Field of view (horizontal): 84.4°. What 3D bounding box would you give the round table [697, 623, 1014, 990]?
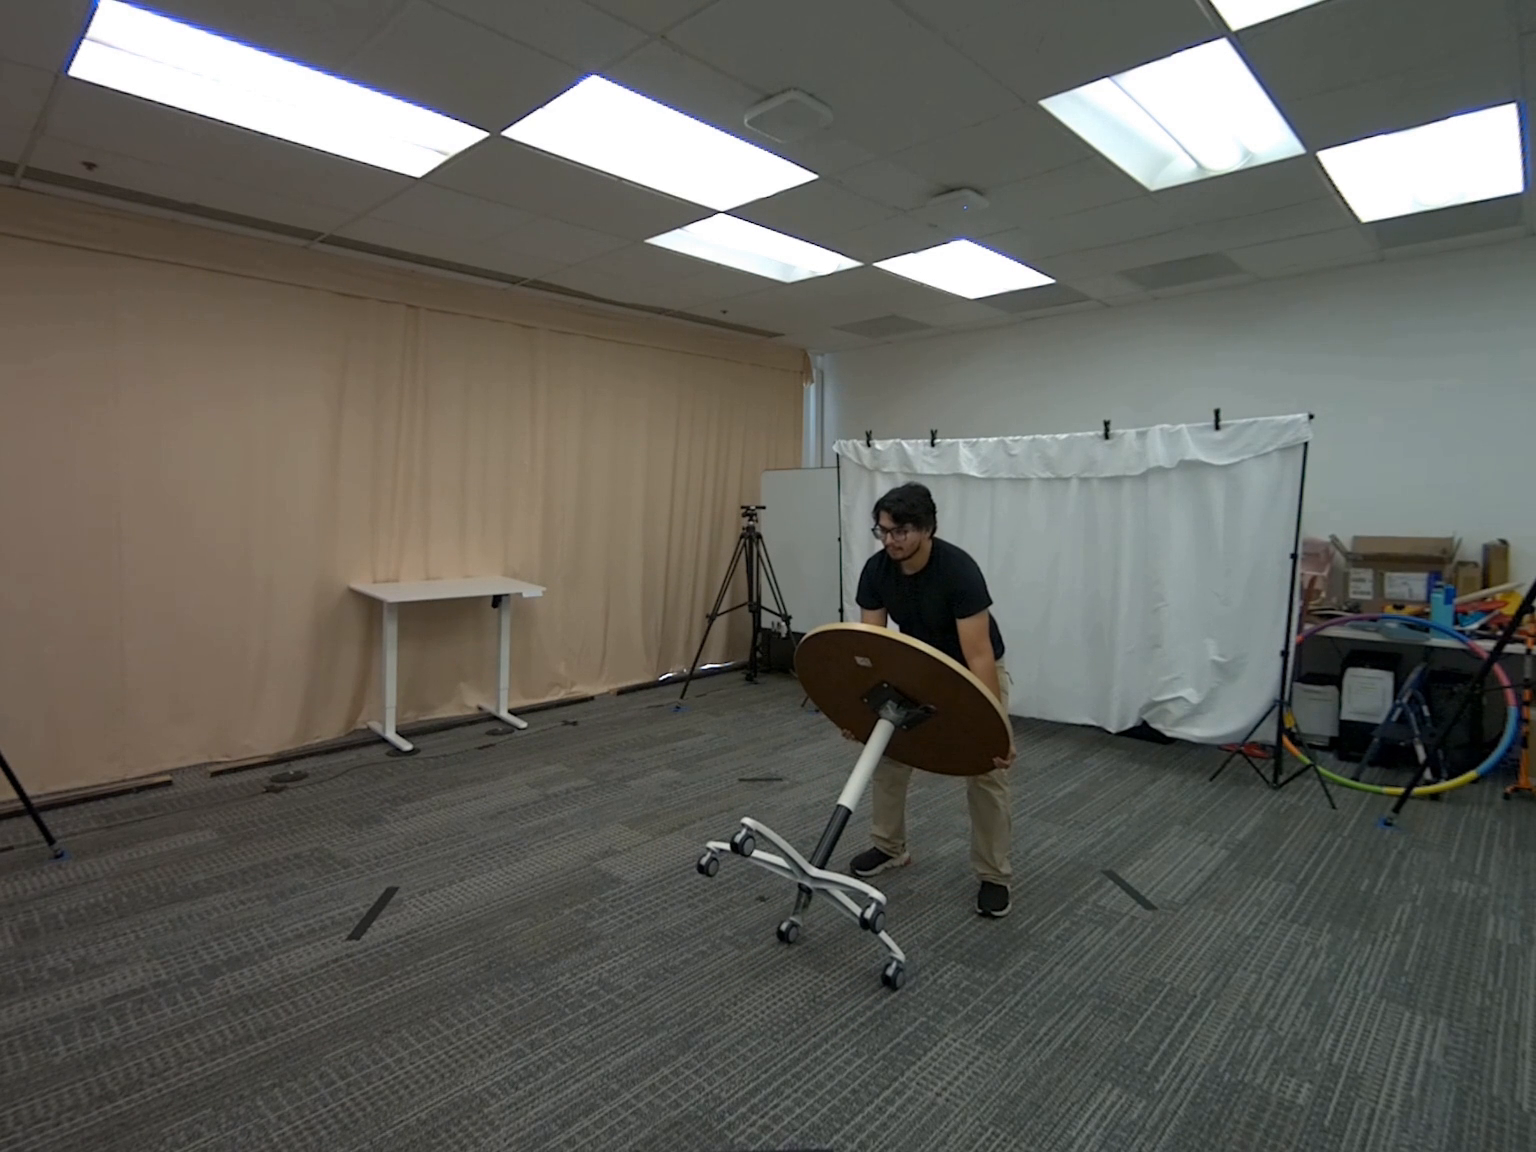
[{"bbox_3d":[0.261,0.705,2.647,0.811,0.762,0.784,3,46,40],"label":"round table"}]
